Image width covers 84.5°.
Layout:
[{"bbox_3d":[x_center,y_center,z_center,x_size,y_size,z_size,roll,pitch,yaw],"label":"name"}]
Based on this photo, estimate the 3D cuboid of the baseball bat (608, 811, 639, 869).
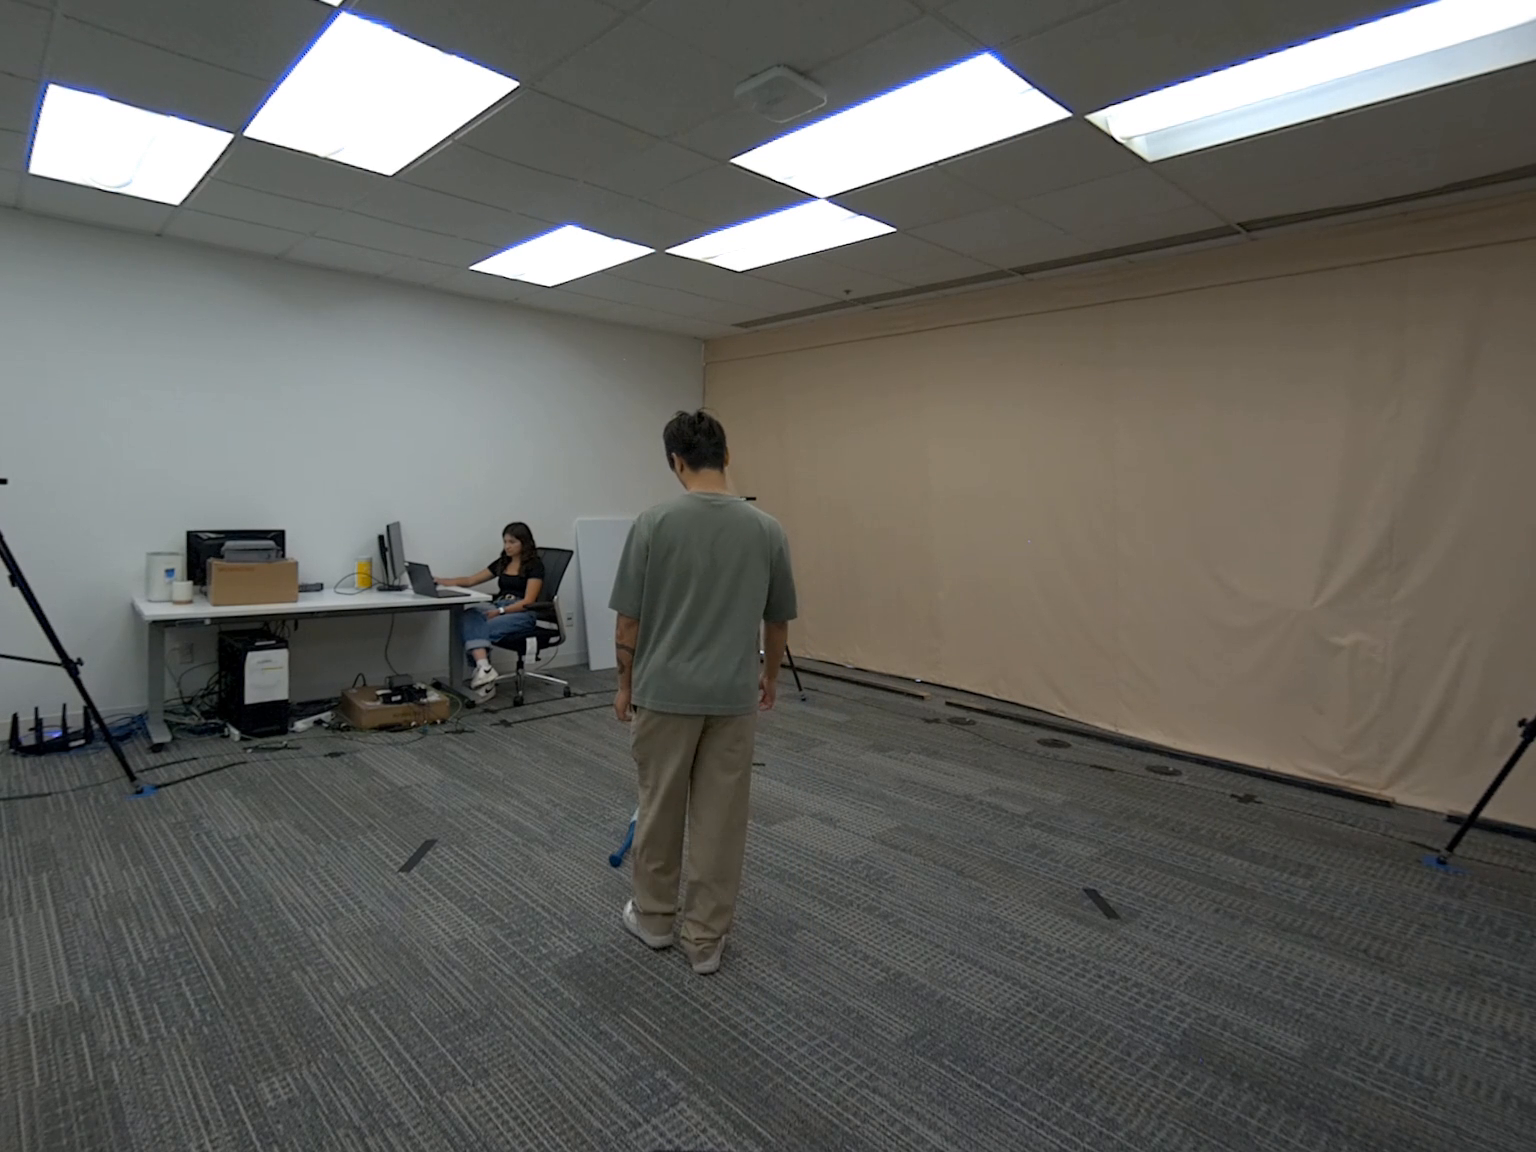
[{"bbox_3d":[-0.546,1.038,3.416,0.090,0.088,0.541,2,8,9],"label":"baseball bat"}]
